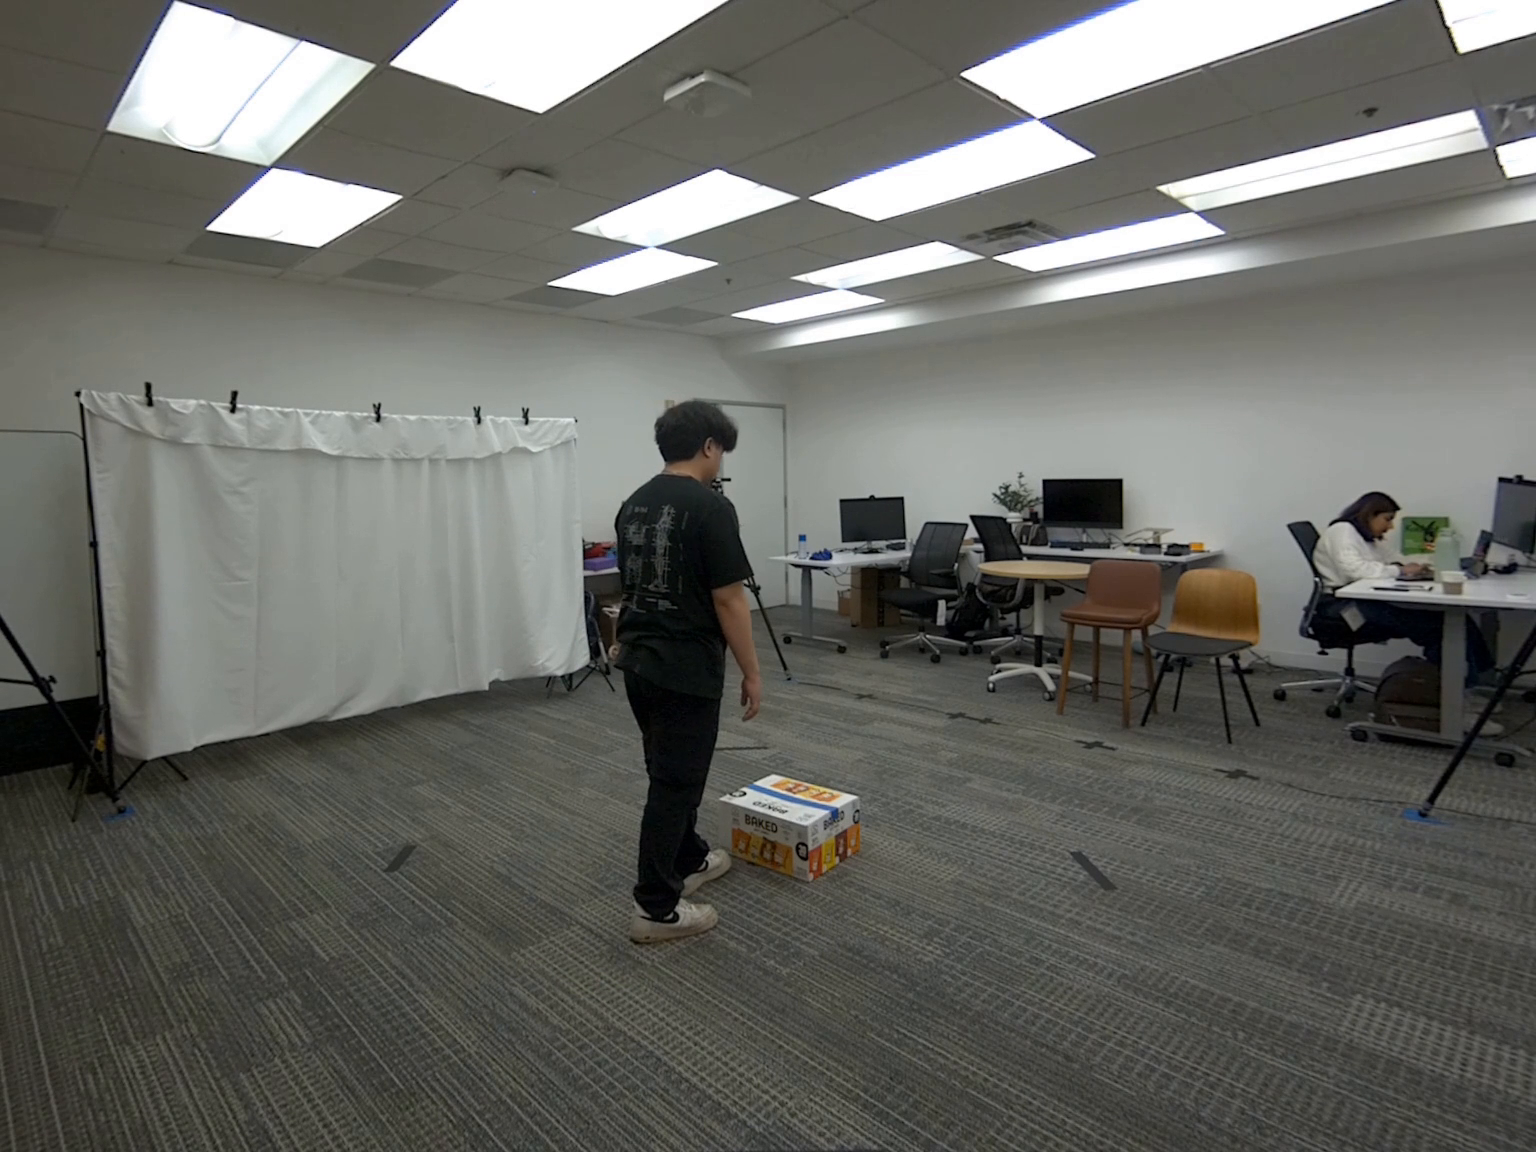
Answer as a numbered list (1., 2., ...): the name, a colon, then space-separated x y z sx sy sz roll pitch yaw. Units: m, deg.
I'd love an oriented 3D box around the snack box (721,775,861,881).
1. snack box: 0.080 0.928 3.192 0.417 0.205 0.332 4 7 38
